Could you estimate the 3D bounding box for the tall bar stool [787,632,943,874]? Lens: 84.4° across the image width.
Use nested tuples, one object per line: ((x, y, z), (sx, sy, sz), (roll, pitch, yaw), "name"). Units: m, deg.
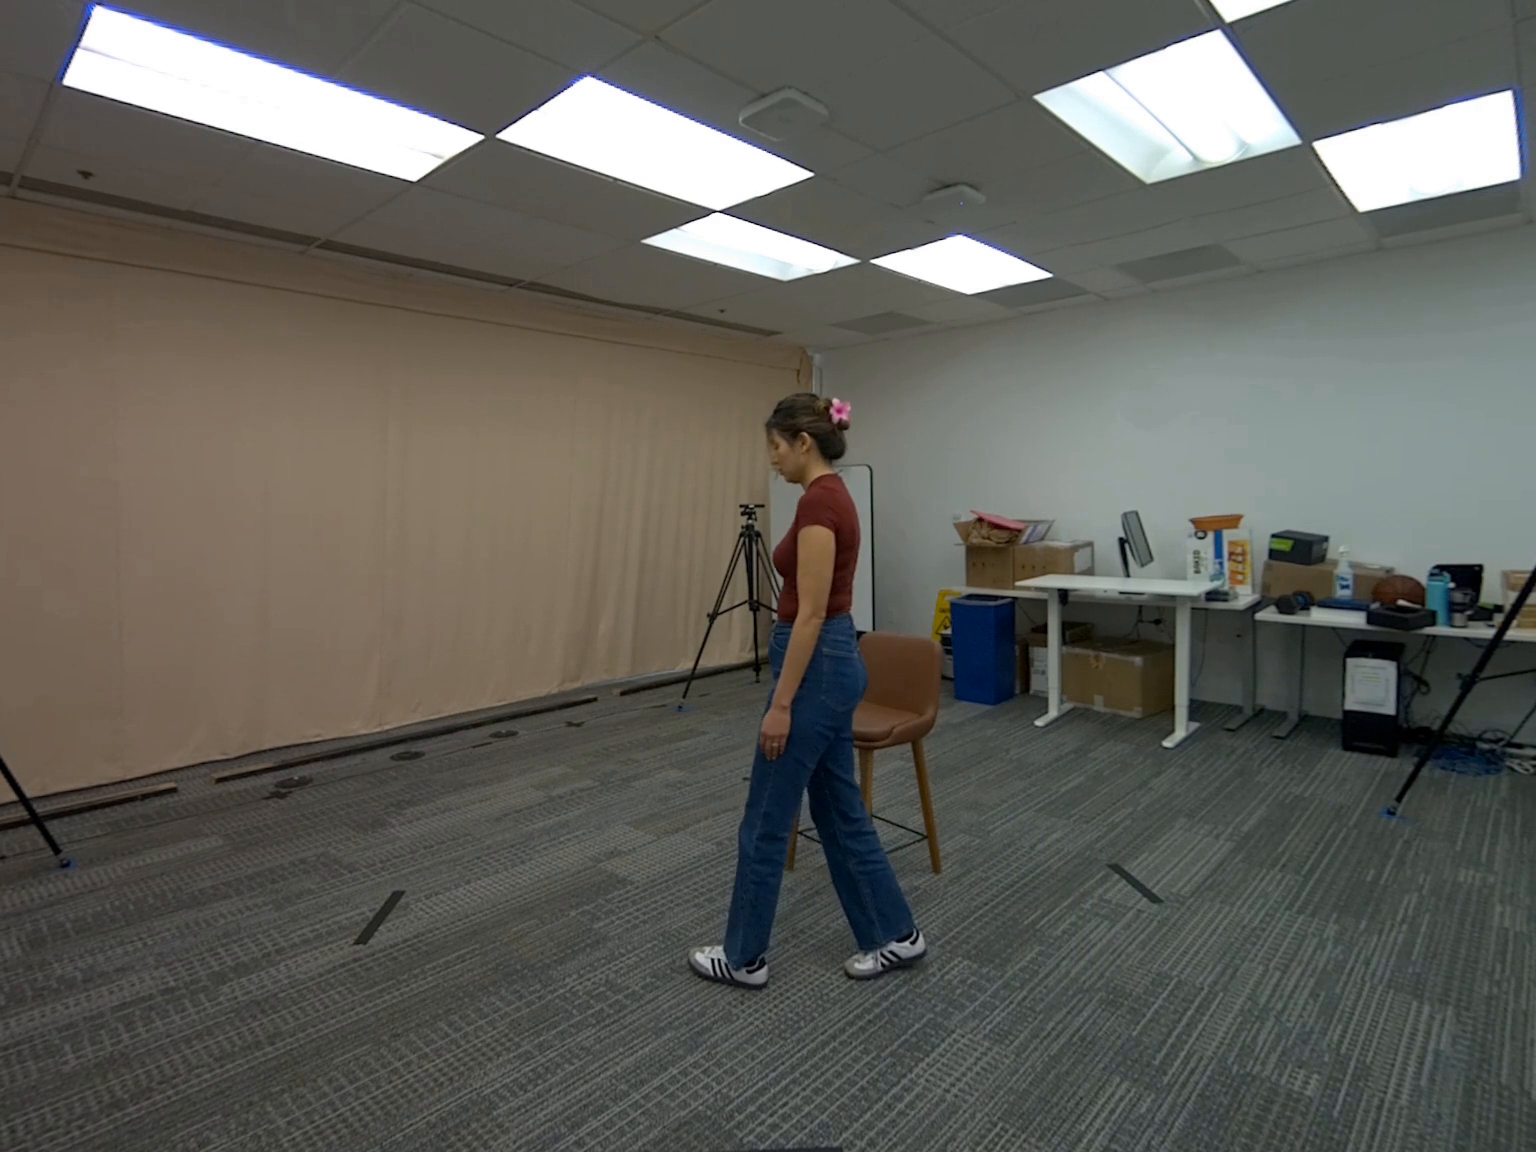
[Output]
((0.366, 0.681, 3.158), (0.453, 0.888, 0.471), (-1, 3, -38), "tall bar stool")
